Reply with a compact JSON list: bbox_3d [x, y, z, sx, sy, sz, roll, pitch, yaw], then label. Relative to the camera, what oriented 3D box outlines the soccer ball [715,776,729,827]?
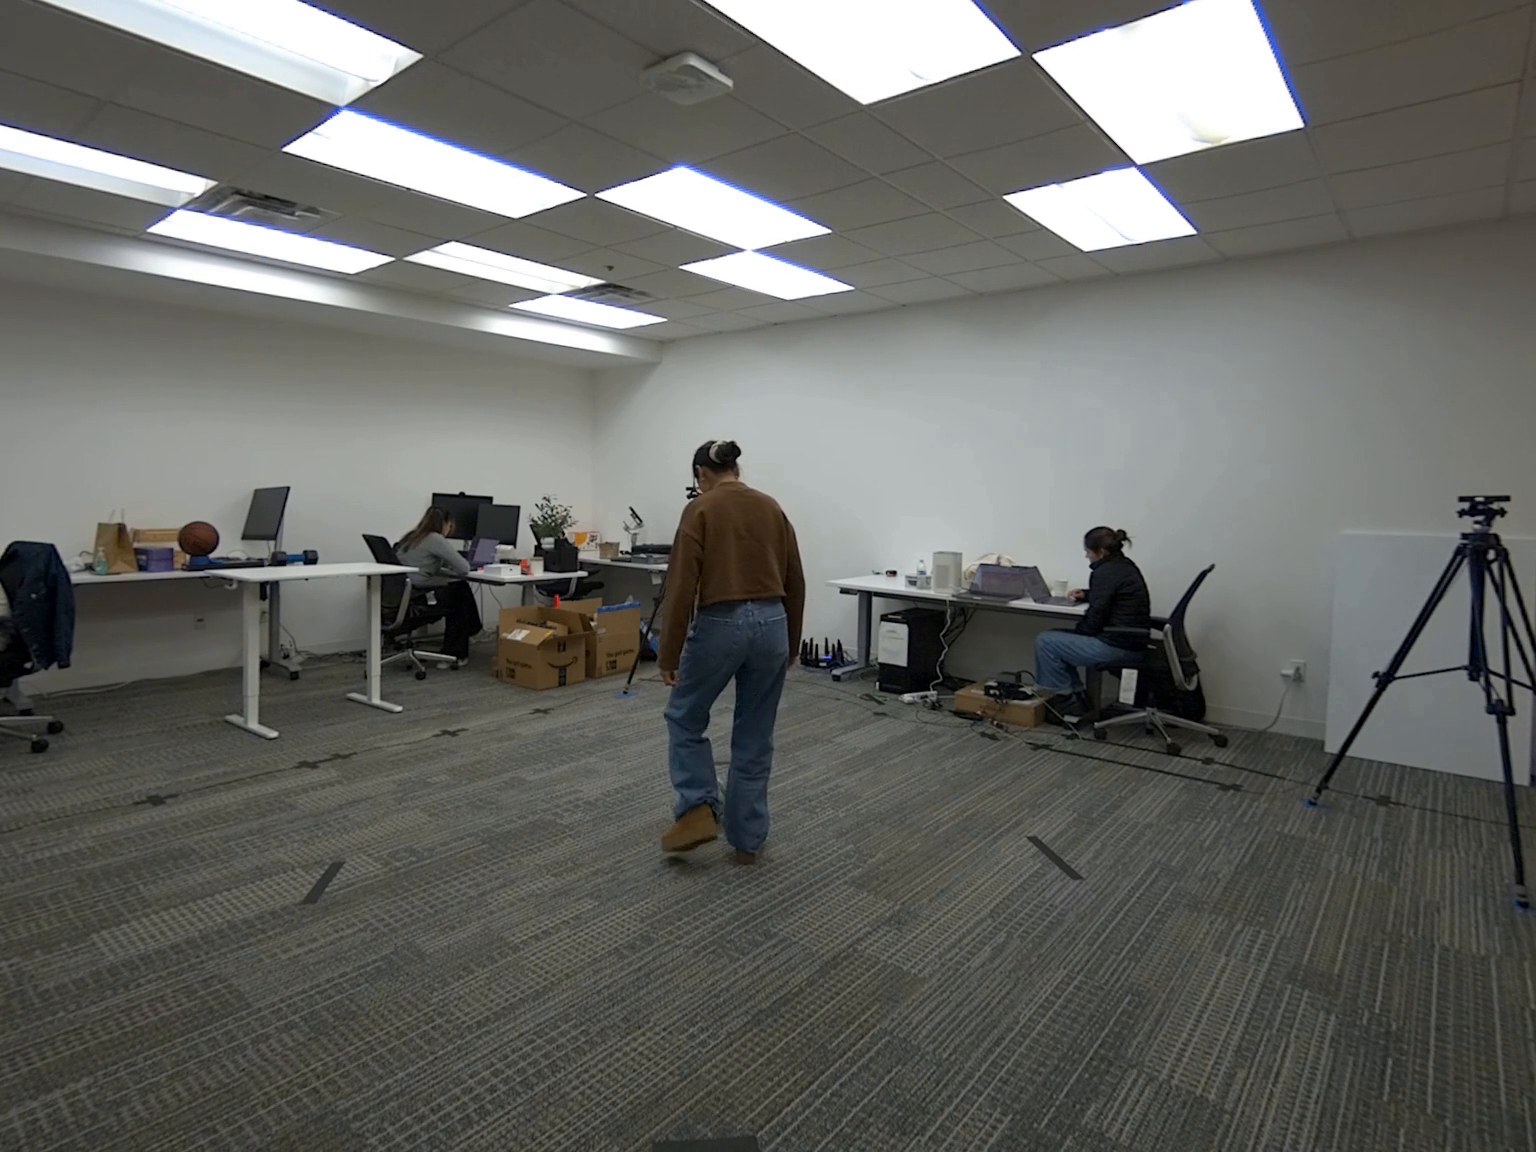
[{"bbox_3d":[-0.256,0.919,3.558,0.187,0.187,0.188,1,4,-2],"label":"soccer ball"}]
